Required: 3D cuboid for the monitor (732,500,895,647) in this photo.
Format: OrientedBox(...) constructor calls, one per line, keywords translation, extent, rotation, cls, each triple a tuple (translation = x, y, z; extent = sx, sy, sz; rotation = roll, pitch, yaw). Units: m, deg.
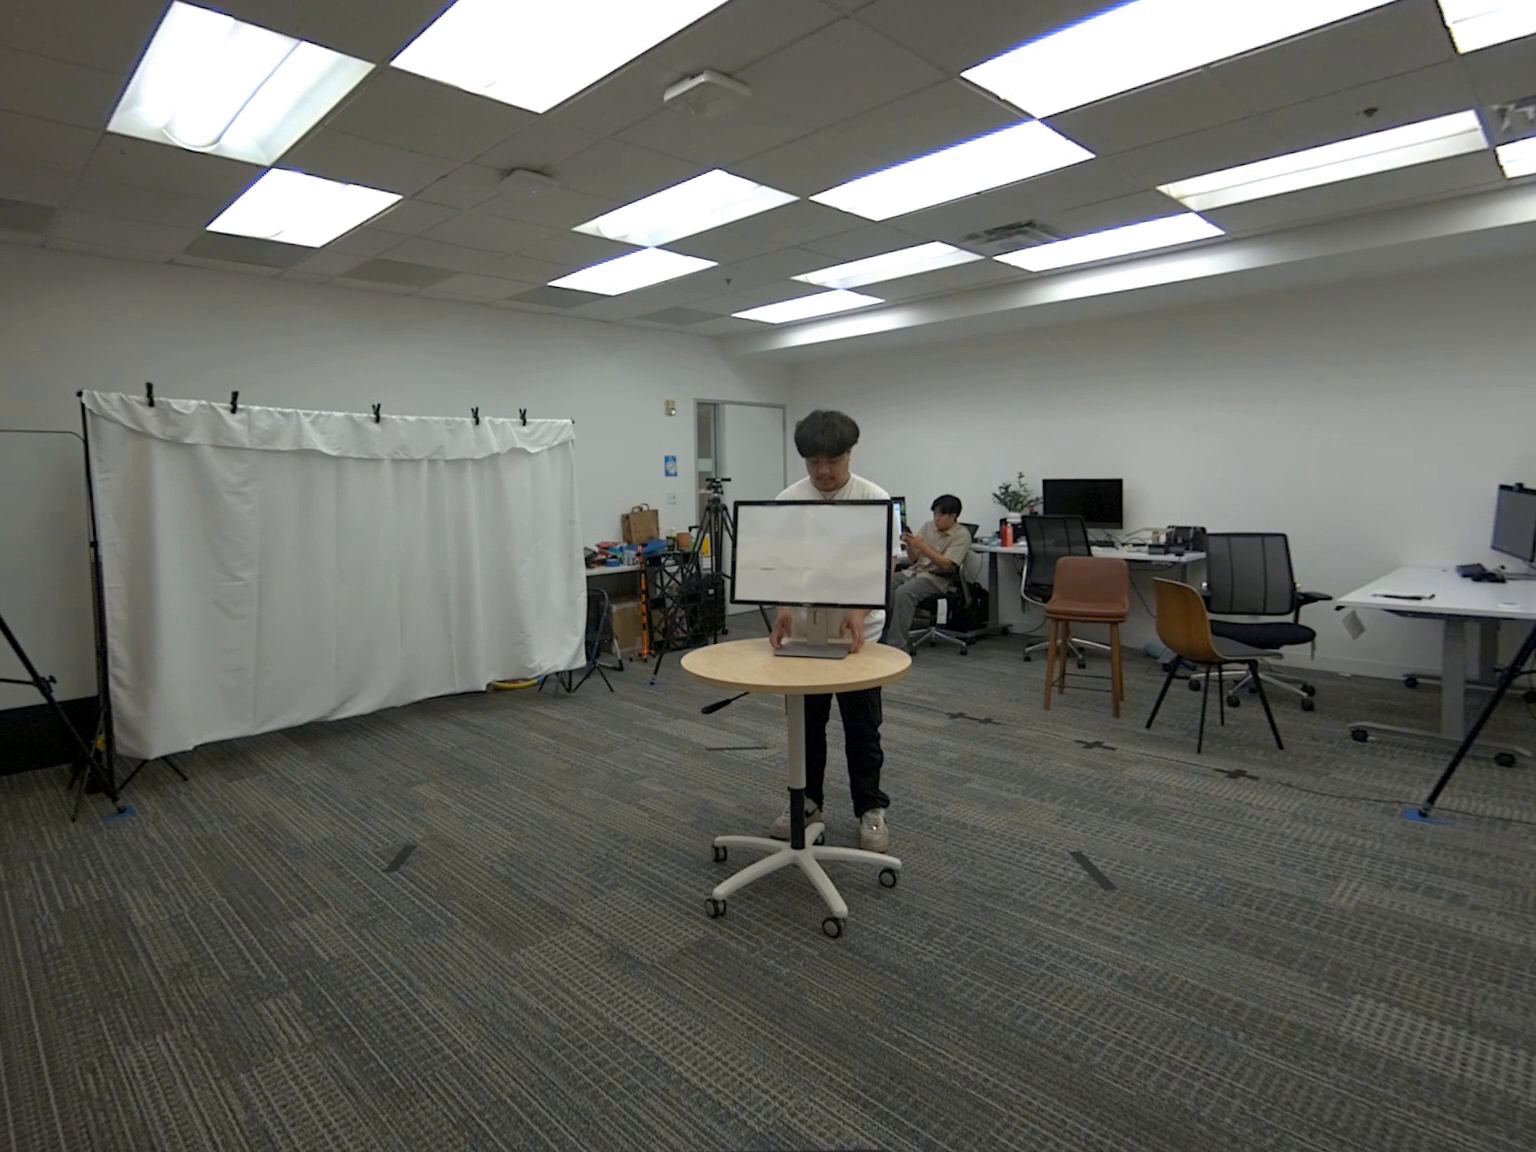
OrientedBox(translation=(0.181, 0.009, 2.963), extent=(0.577, 0.554, 0.206), rotation=(1, 1, 21), cls="monitor")
